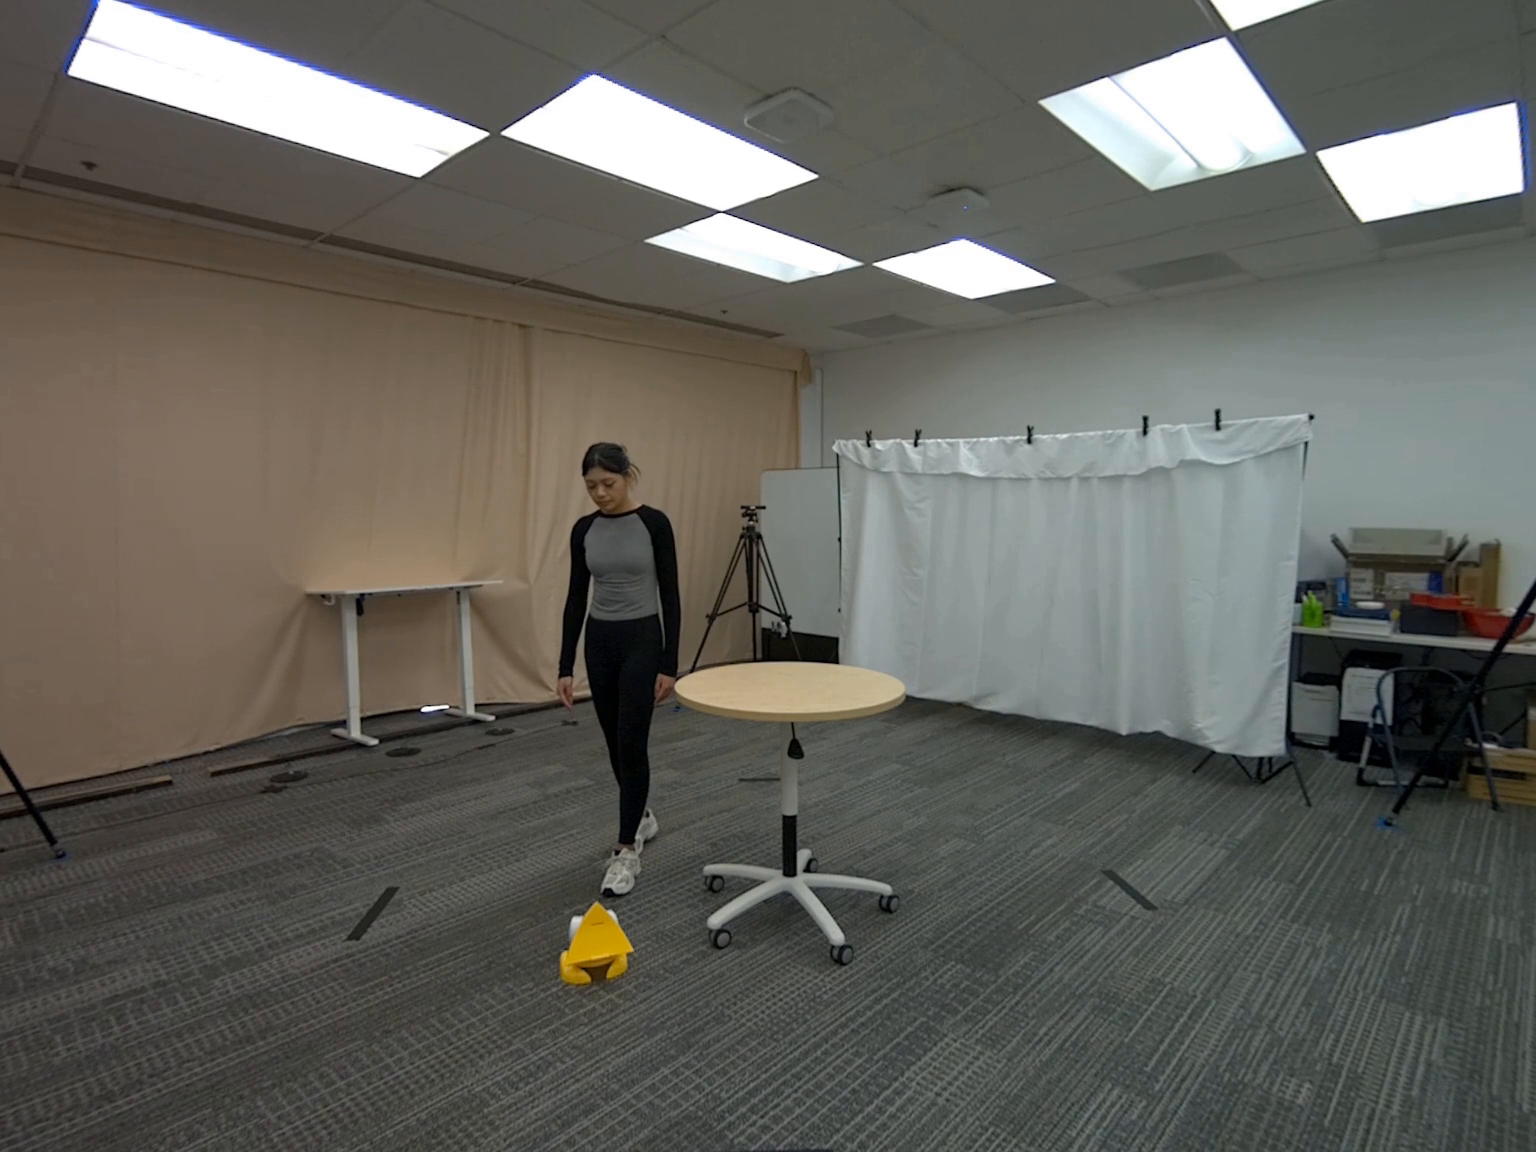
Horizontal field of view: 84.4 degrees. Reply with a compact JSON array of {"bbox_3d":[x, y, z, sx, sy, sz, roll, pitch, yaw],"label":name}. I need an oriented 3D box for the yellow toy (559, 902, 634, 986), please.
[{"bbox_3d":[-0.527,1.075,2.528,0.200,0.230,0.197,-2,3,-22],"label":"yellow toy"}]
